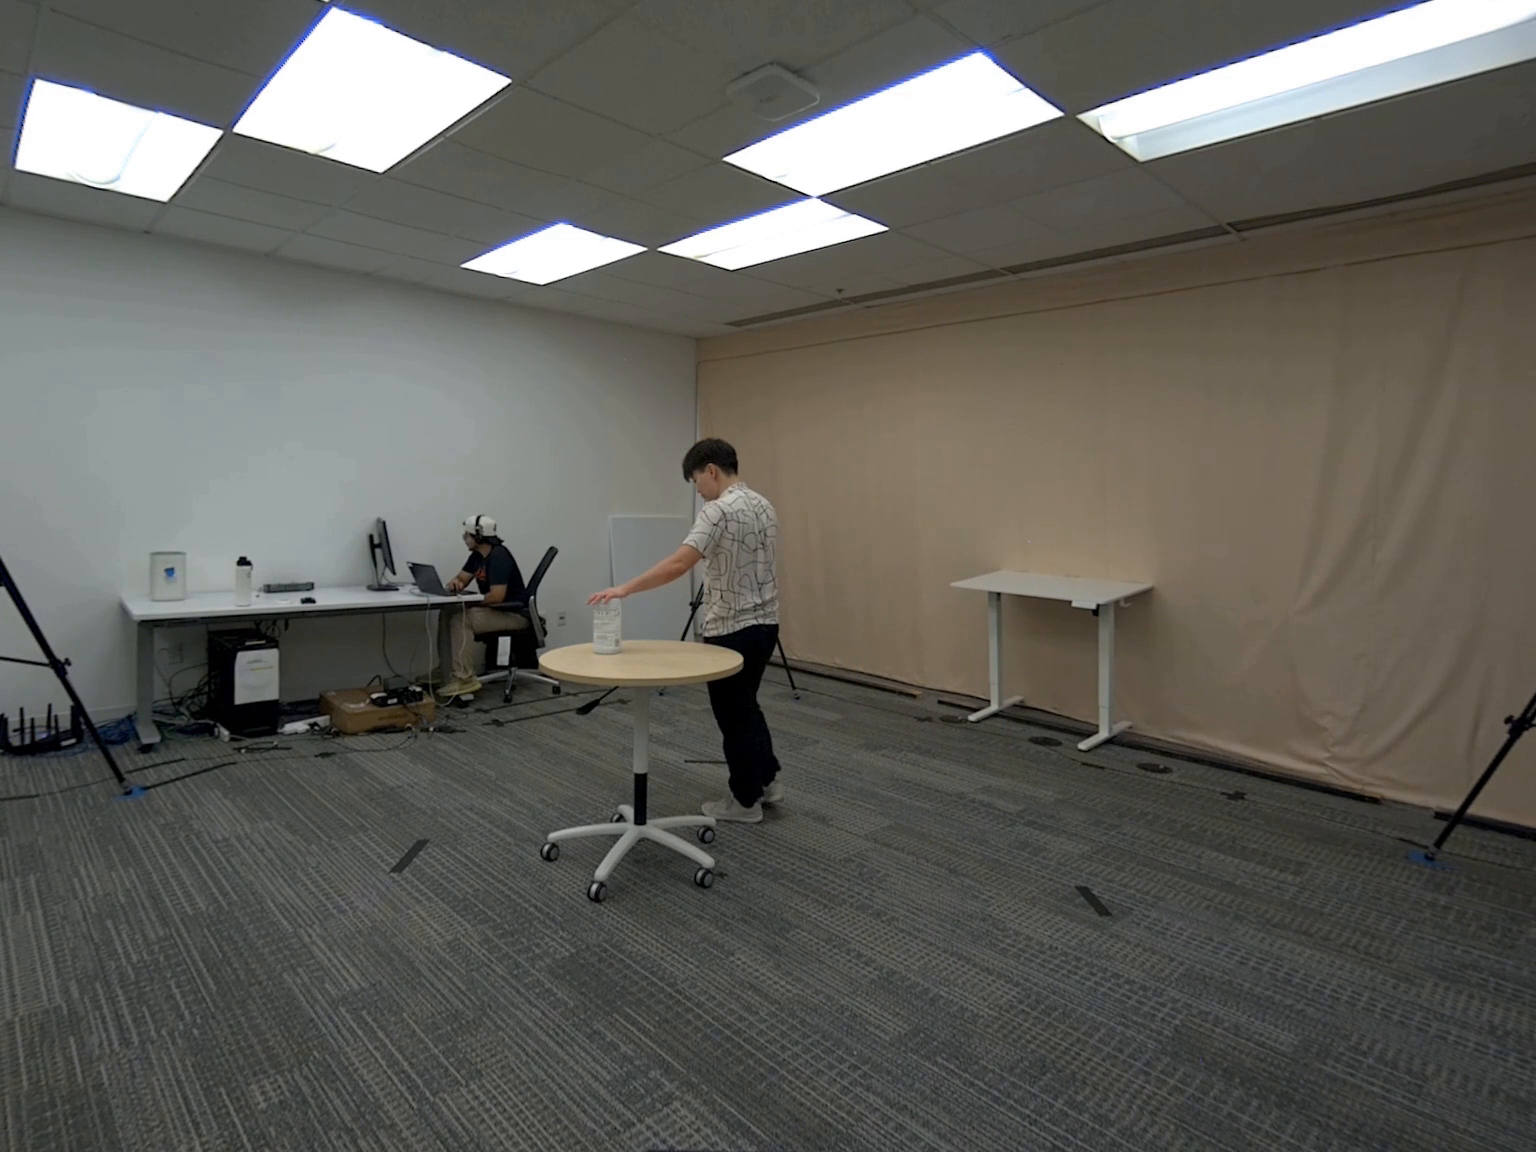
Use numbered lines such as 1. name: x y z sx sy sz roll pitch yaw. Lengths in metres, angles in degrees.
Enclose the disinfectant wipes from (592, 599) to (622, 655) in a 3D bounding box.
1. disinfectant wipes: -0.631 0.196 3.268 0.118 0.217 0.118 1 2 -1
